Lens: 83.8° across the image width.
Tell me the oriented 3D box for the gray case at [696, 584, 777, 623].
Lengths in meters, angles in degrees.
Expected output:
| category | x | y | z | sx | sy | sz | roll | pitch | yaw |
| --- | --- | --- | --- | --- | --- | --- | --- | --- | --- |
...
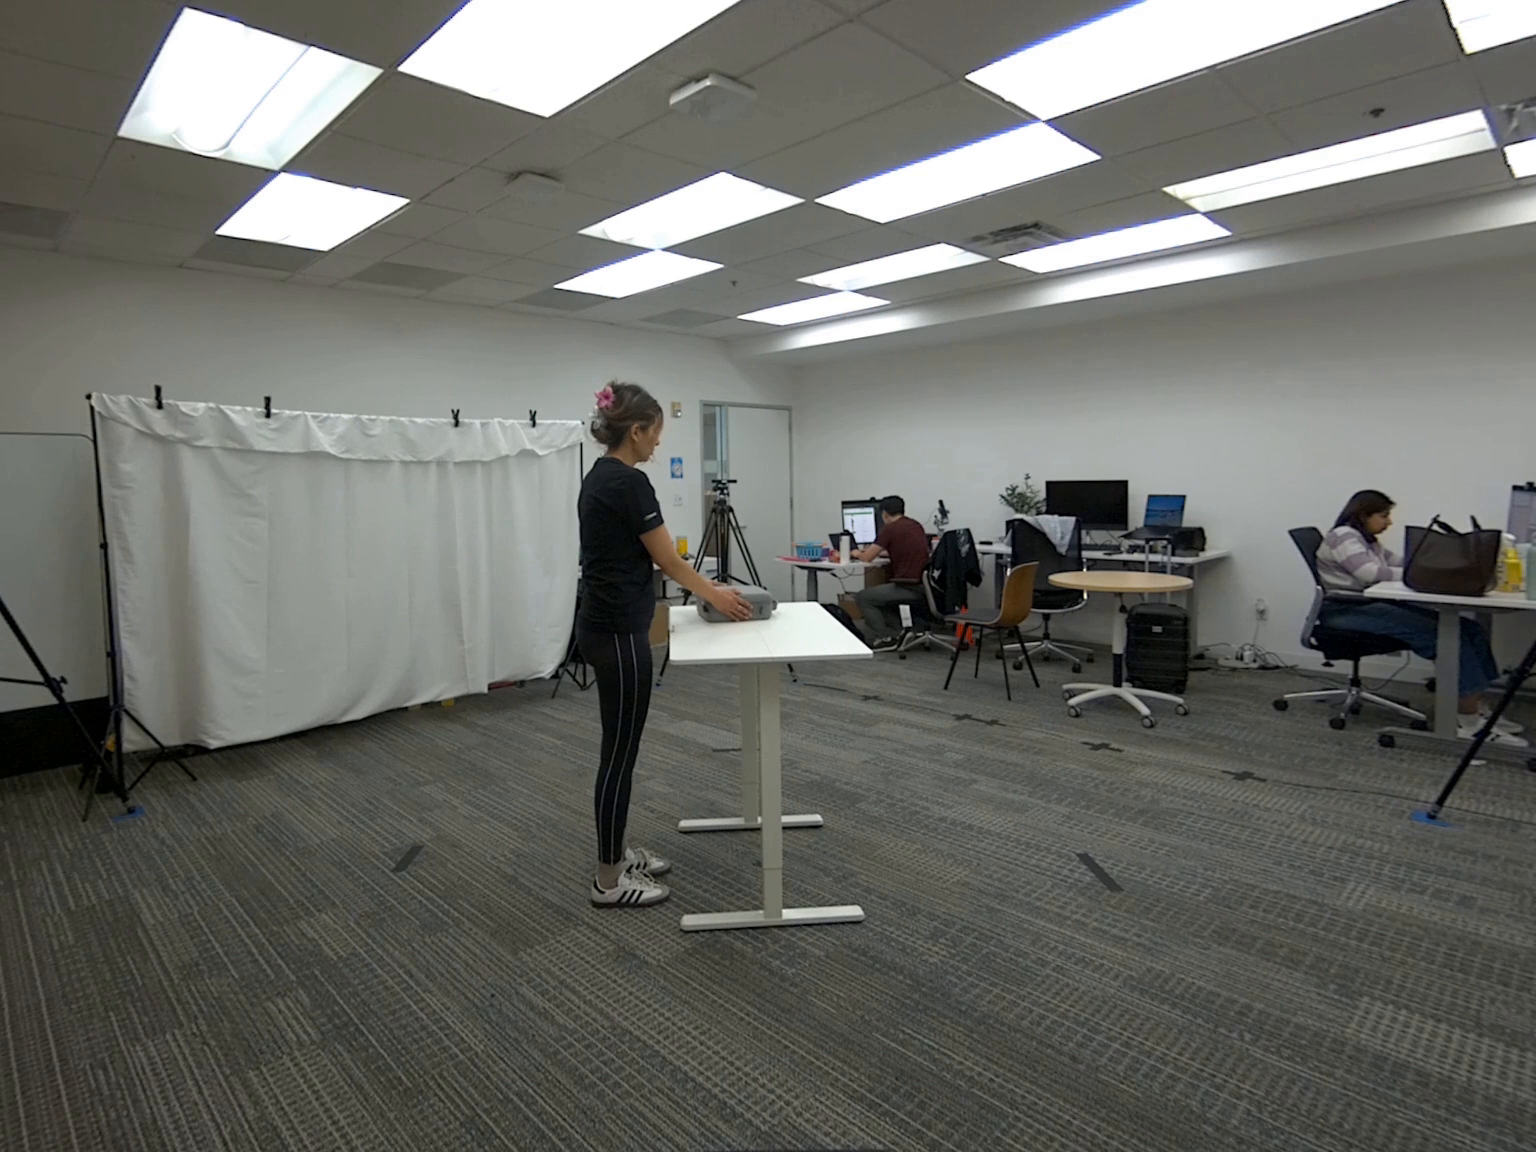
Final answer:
| category | x | y | z | sx | sy | sz | roll | pitch | yaw |
| --- | --- | --- | --- | --- | --- | --- | --- | --- | --- |
| gray case | -0.123 | 0.101 | 3.218 | 0.258 | 0.104 | 0.261 | -2 | 6 | -12 |
